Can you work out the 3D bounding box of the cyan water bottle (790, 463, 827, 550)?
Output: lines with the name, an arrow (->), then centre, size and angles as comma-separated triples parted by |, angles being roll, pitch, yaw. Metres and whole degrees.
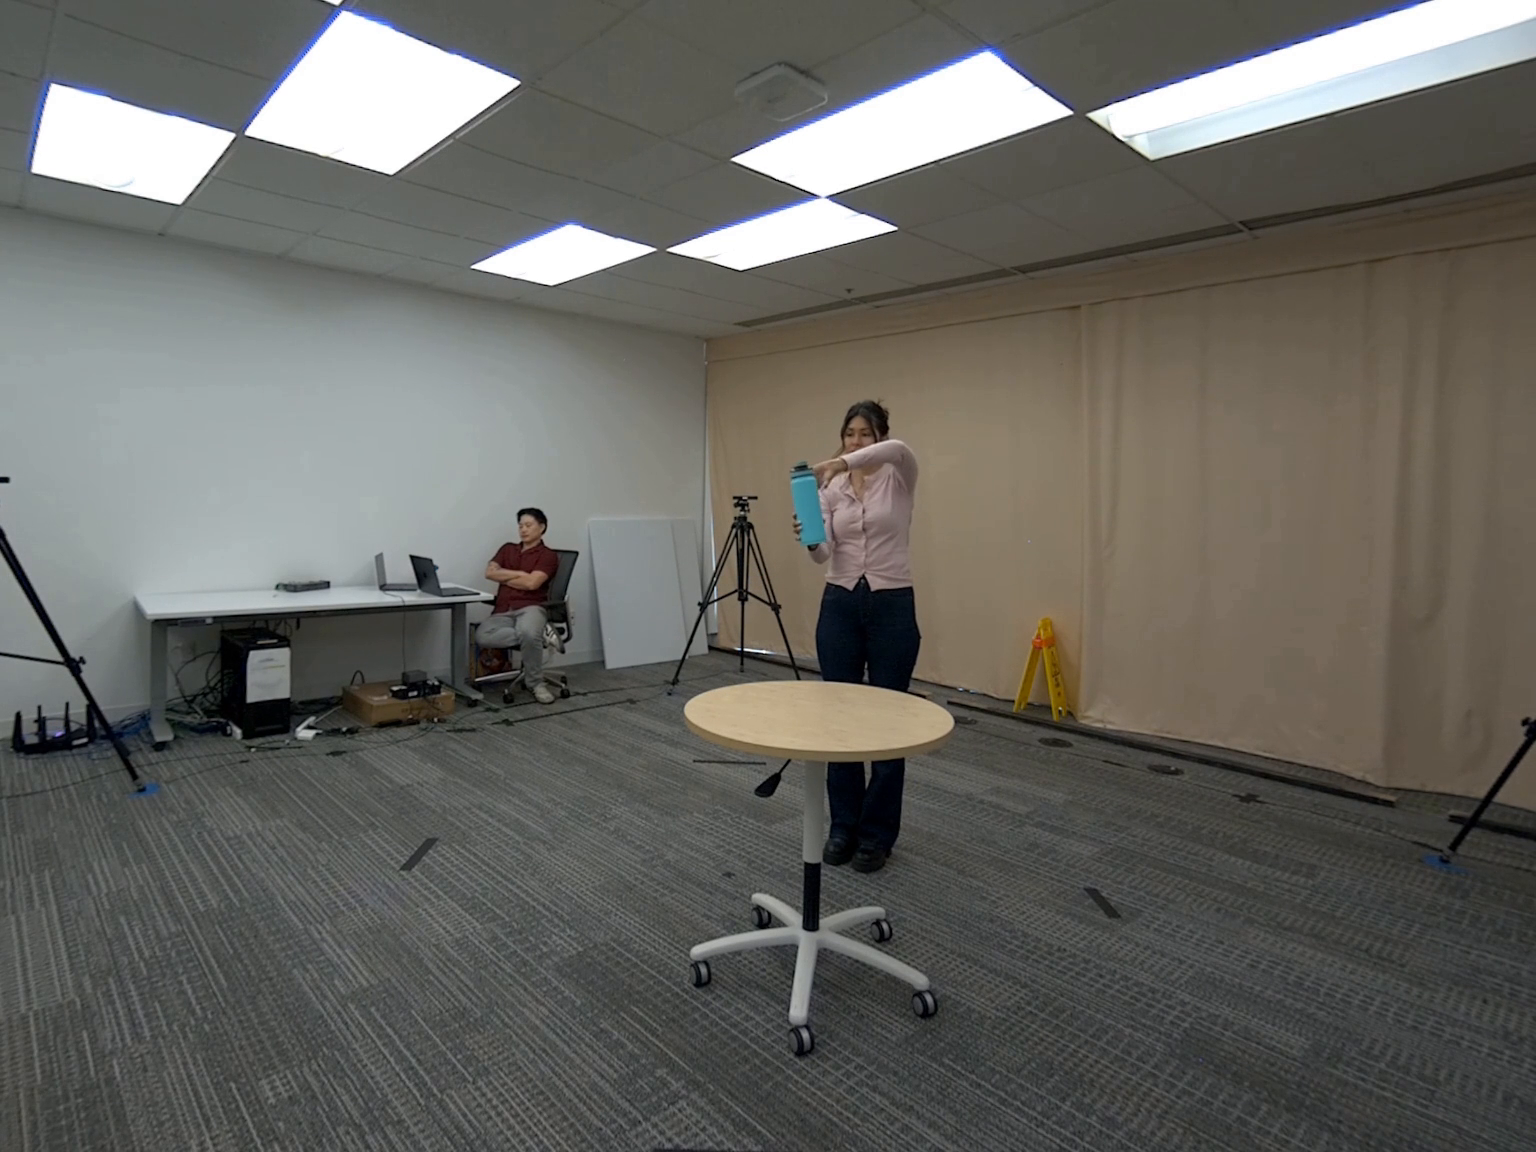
cyan water bottle -> 0.124, -0.247, 2.853 | 0.092, 0.283, 0.092 | -8, -1, -1
